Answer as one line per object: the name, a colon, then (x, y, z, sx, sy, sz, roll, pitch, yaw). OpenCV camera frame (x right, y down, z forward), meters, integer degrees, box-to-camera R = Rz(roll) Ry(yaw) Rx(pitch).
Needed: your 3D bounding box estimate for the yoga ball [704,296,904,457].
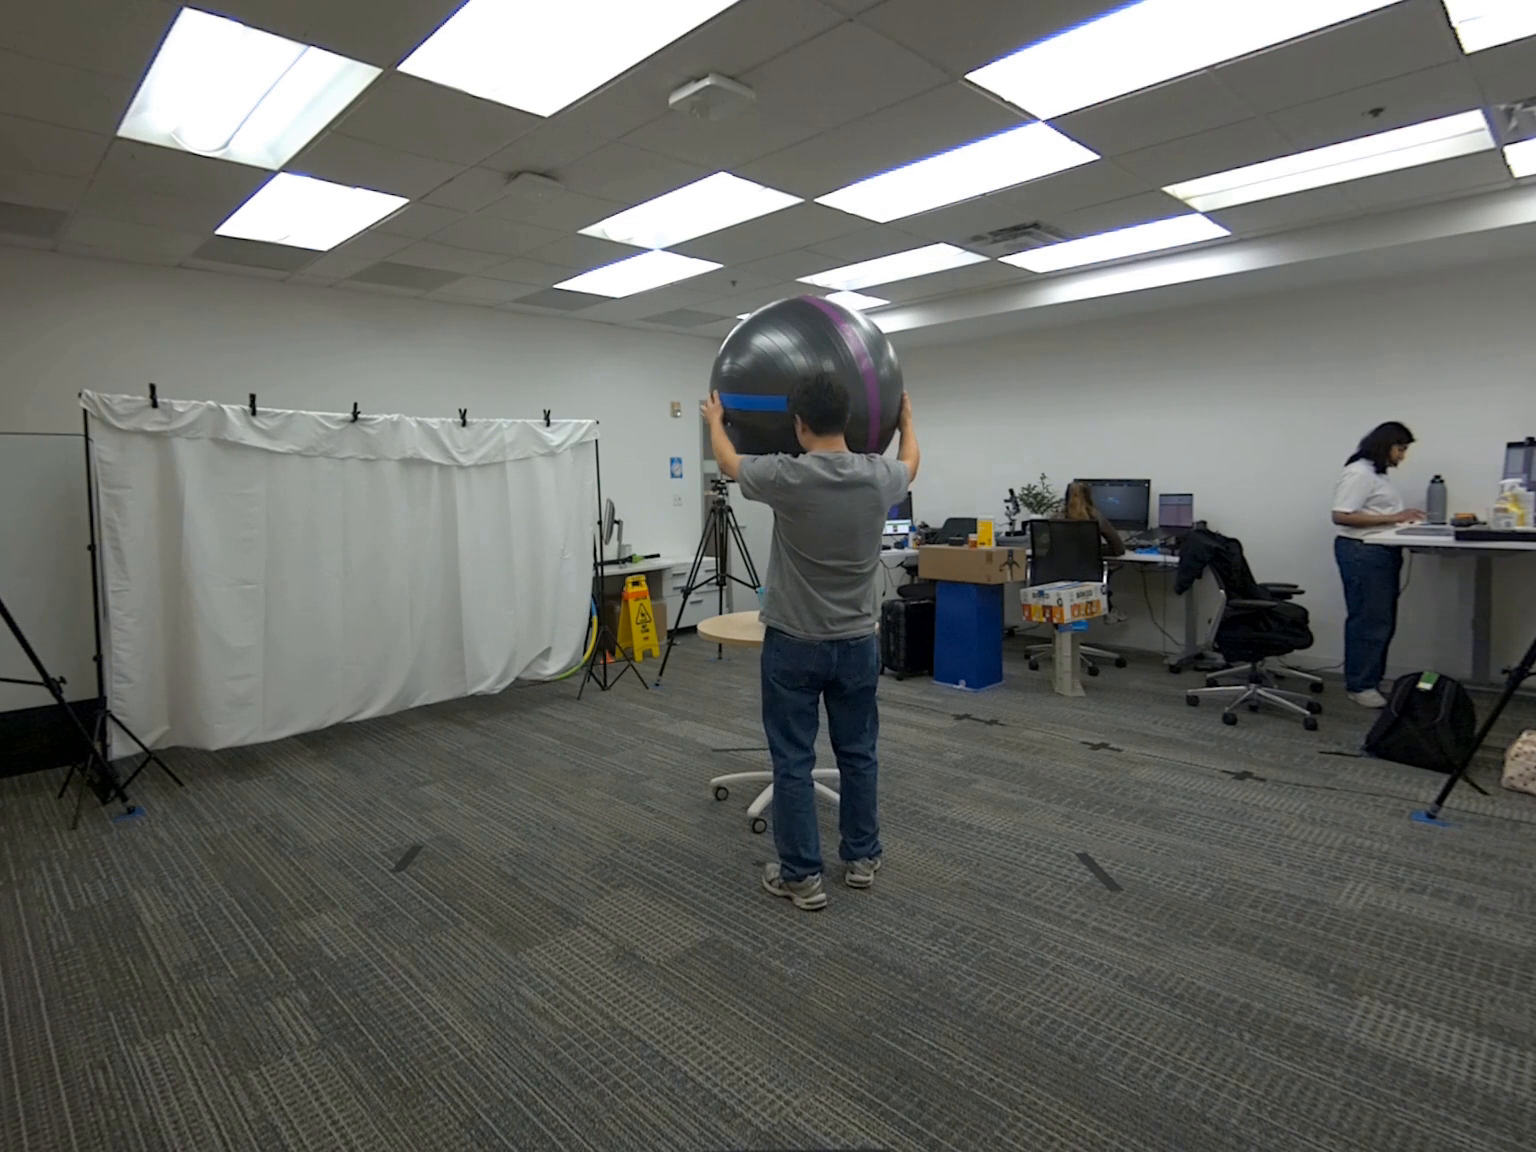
yoga ball: (0.147, -0.696, 3.348, 0.757, 0.755, 0.762, -1, 5, -2)
